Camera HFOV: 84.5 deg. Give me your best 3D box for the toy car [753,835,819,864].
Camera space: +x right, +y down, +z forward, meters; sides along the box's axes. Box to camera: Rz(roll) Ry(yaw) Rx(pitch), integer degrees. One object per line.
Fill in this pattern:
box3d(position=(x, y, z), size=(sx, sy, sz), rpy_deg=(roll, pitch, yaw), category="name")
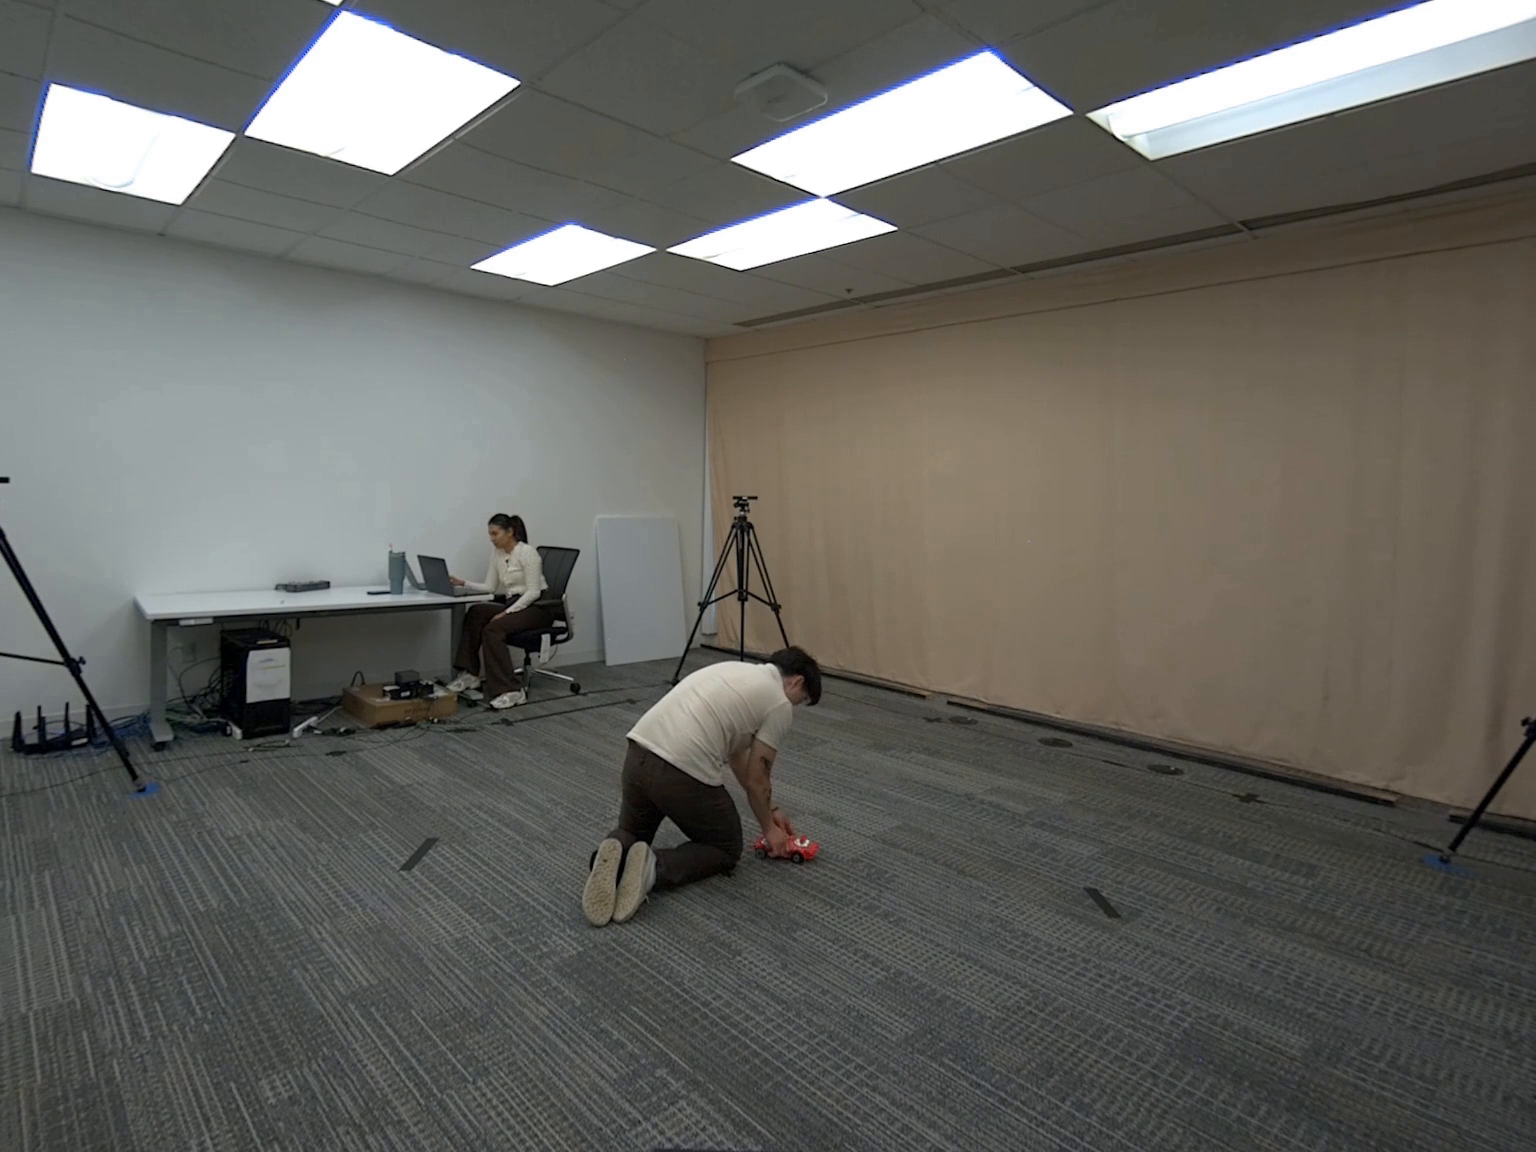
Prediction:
box3d(position=(0.069, 1.065, 3.278), size=(0.258, 0.083, 0.129), rpy_deg=(-10, 1, 19), category="toy car")
